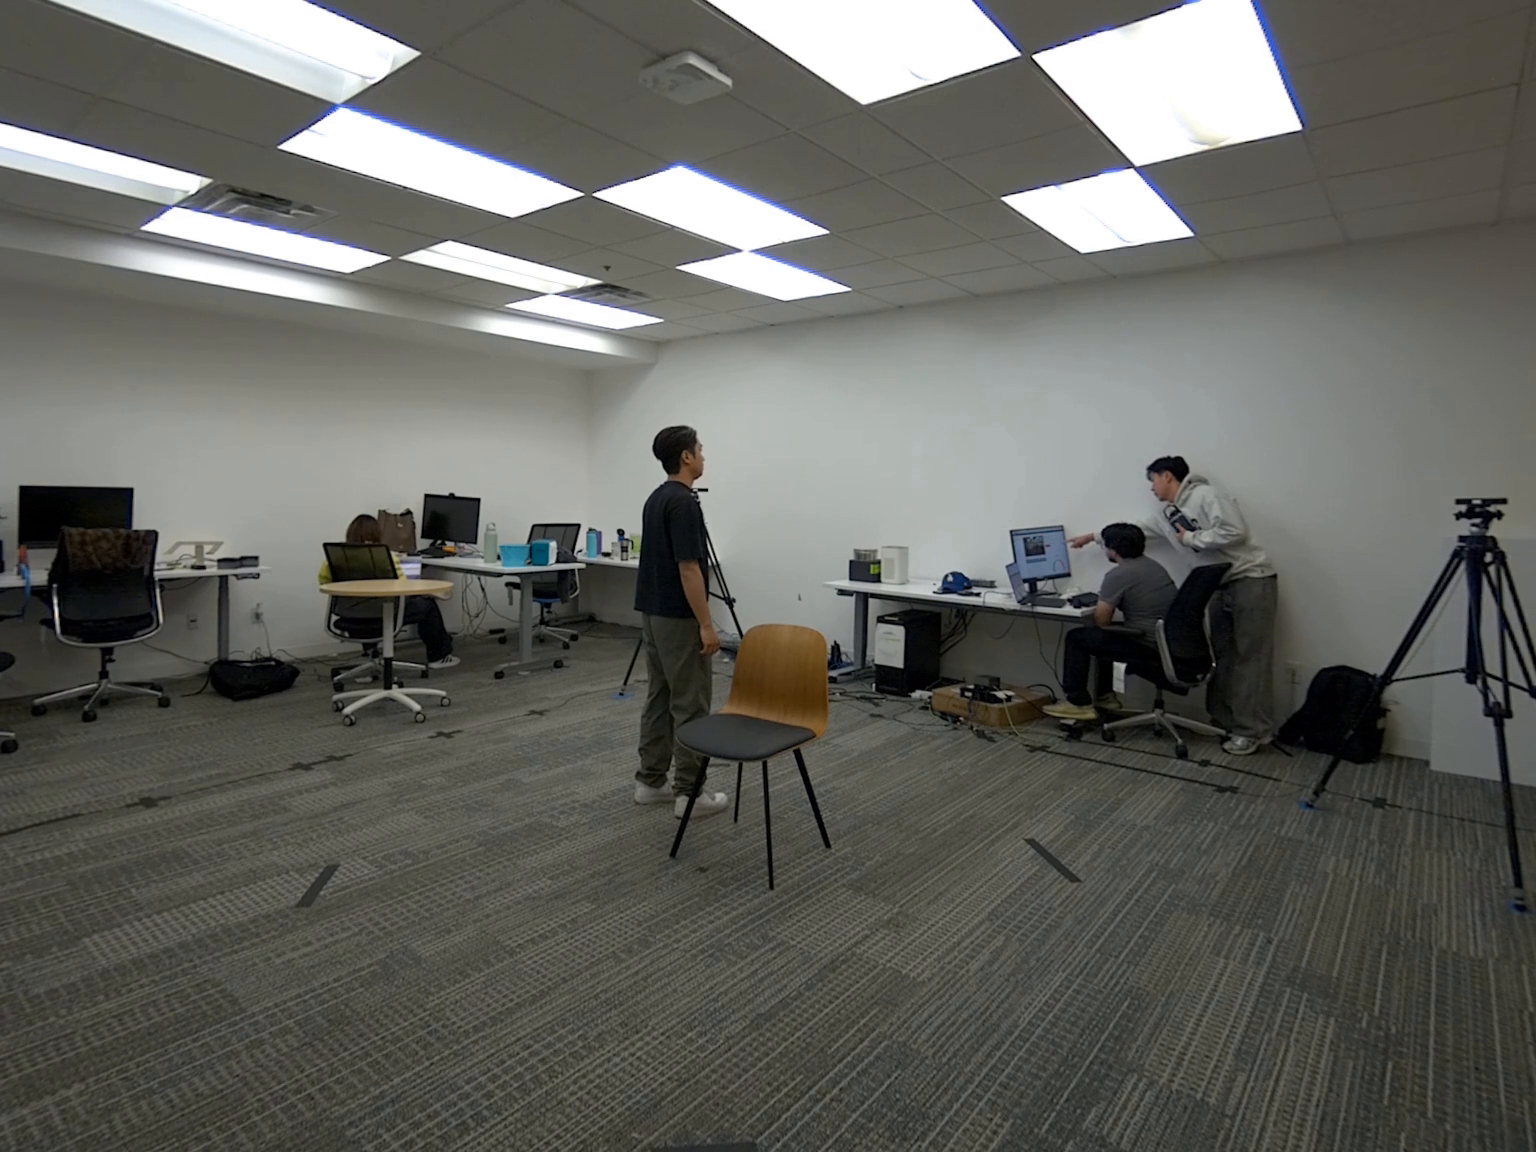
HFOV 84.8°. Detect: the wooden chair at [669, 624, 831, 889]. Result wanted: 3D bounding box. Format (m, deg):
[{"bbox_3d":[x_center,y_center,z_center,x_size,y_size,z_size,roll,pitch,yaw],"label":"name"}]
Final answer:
[{"bbox_3d":[-0.062,0.634,3.230,0.493,0.878,0.507,3,0,32],"label":"wooden chair"}]
